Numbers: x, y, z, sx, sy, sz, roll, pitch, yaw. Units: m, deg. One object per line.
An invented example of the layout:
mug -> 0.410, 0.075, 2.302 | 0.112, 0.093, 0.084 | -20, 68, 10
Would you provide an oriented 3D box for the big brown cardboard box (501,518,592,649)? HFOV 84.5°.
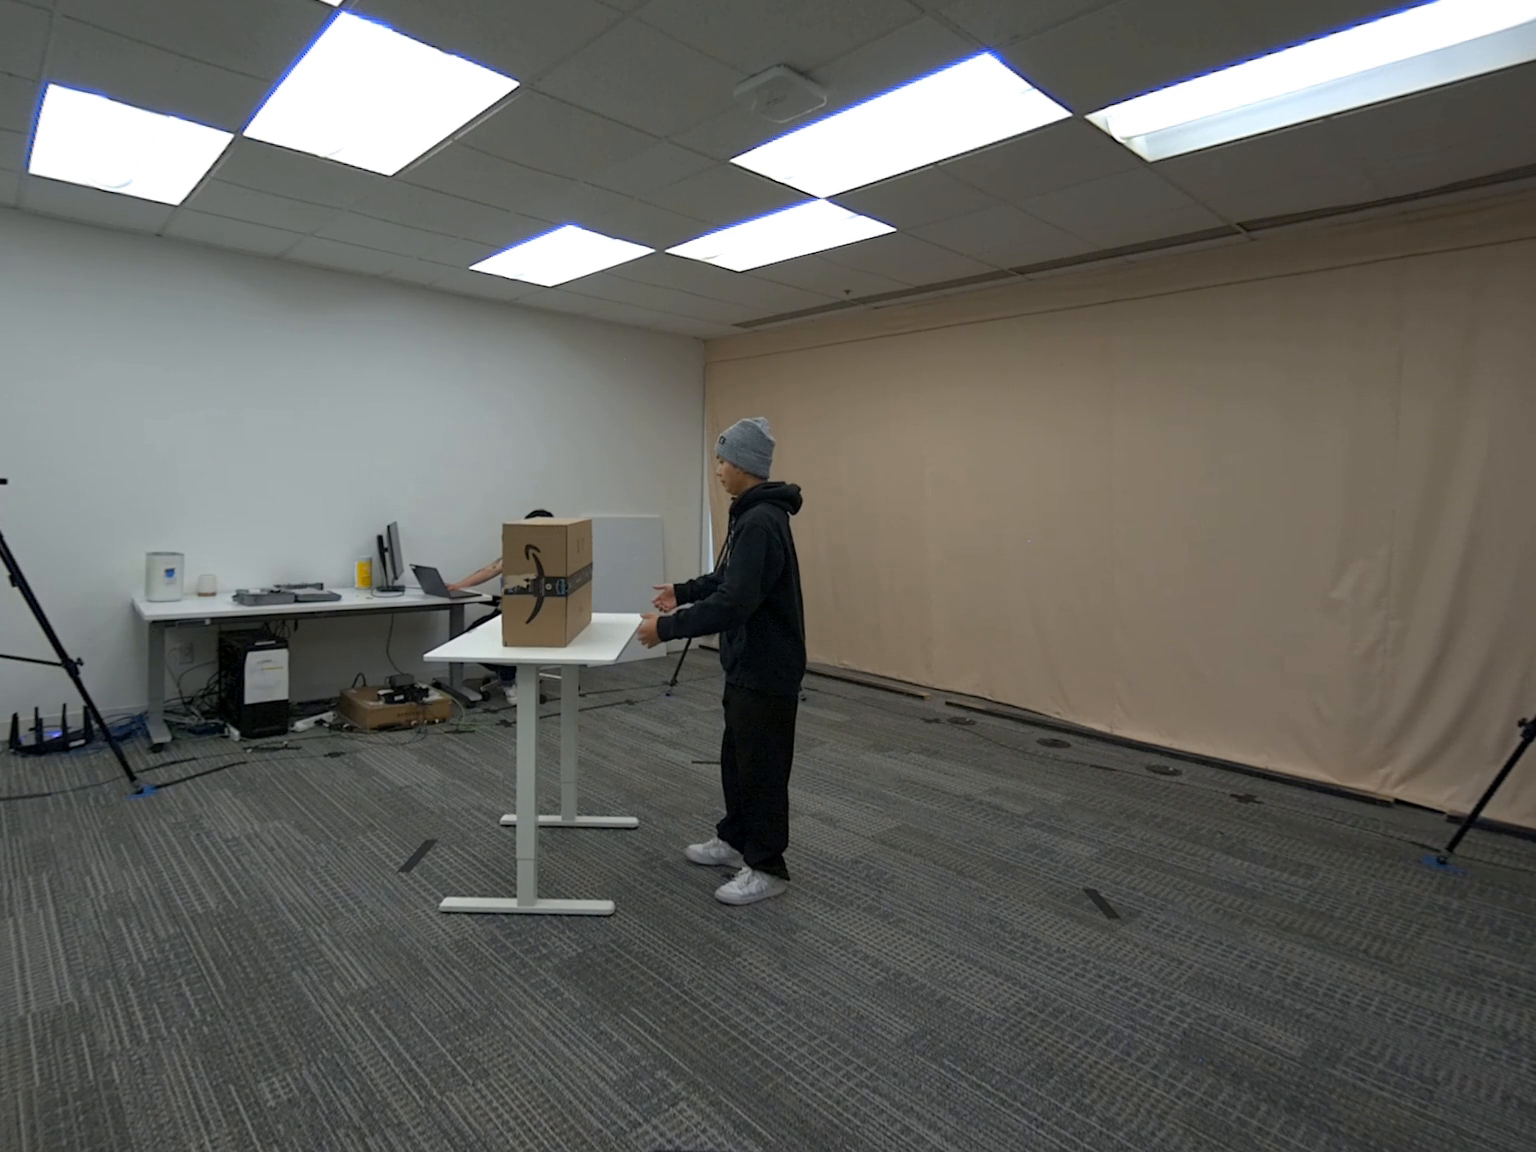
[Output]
big brown cardboard box -> -0.795, 0.004, 3.082 | 0.233, 0.416, 0.592 | 1, 5, -3
